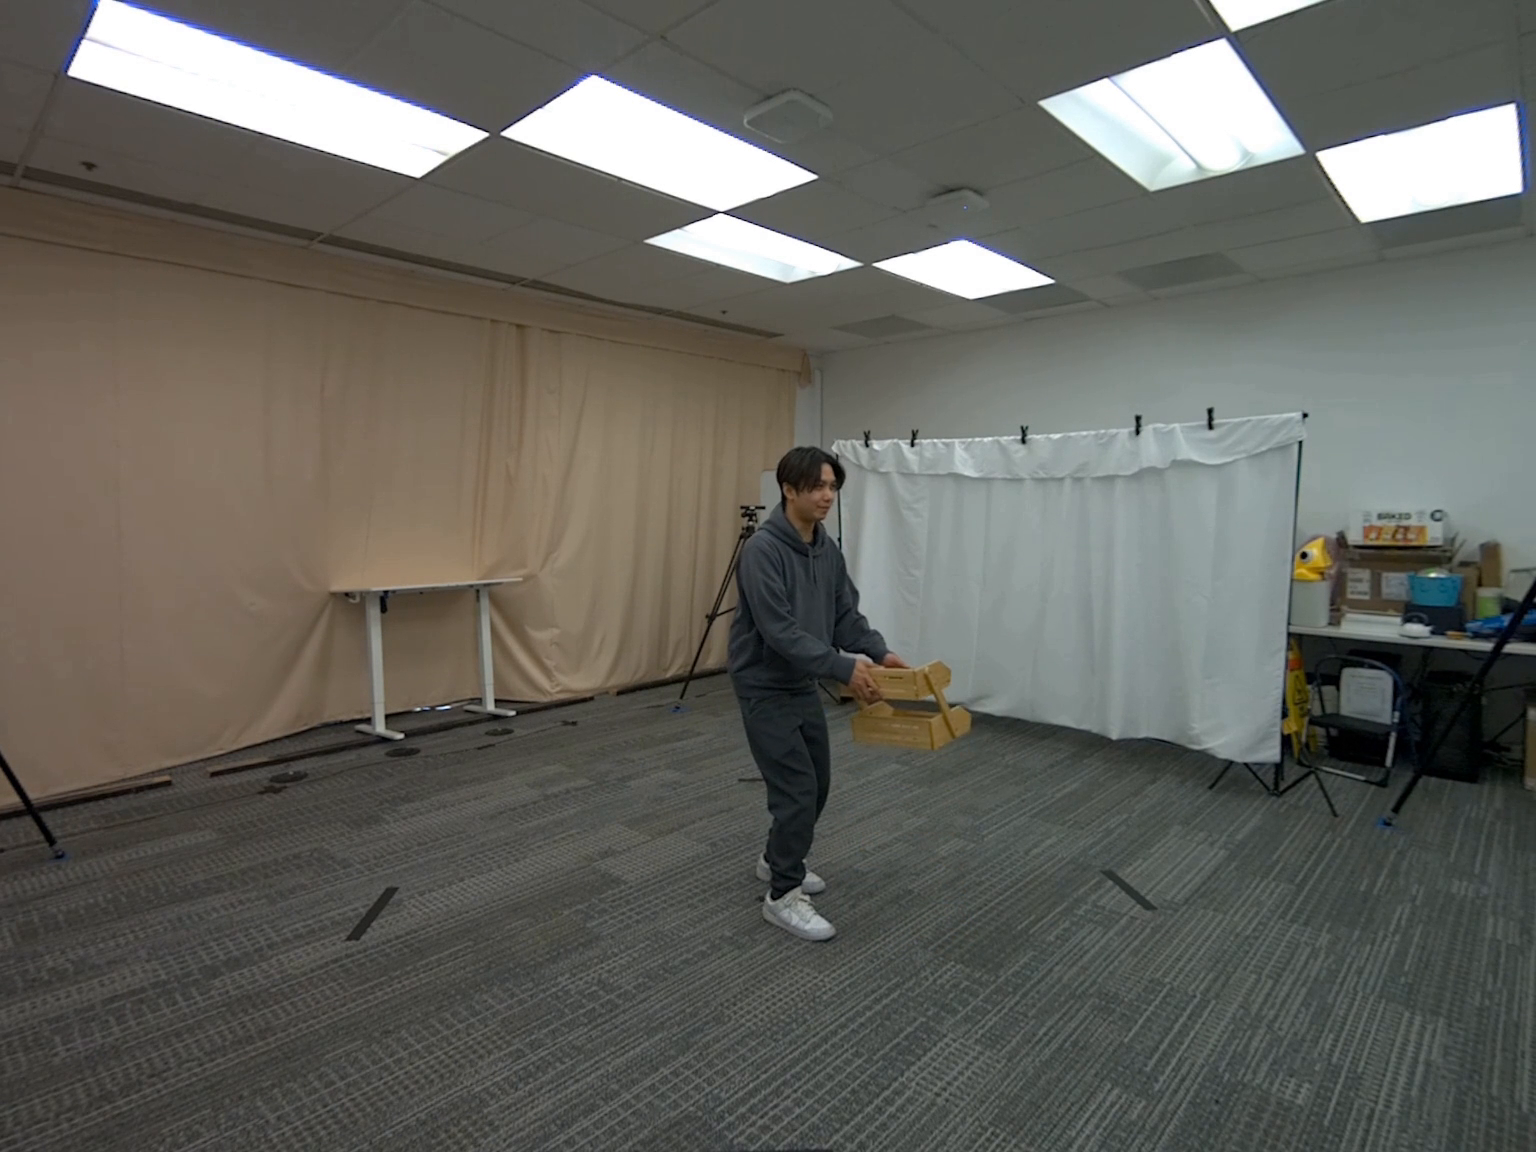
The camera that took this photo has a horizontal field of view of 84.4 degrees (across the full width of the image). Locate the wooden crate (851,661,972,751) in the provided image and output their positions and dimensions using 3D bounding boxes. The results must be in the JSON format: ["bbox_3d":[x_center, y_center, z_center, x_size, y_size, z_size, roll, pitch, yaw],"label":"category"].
[{"bbox_3d":[0.455,0.398,2.751,0.334,0.273,0.294,-5,5,43],"label":"wooden crate"}]
